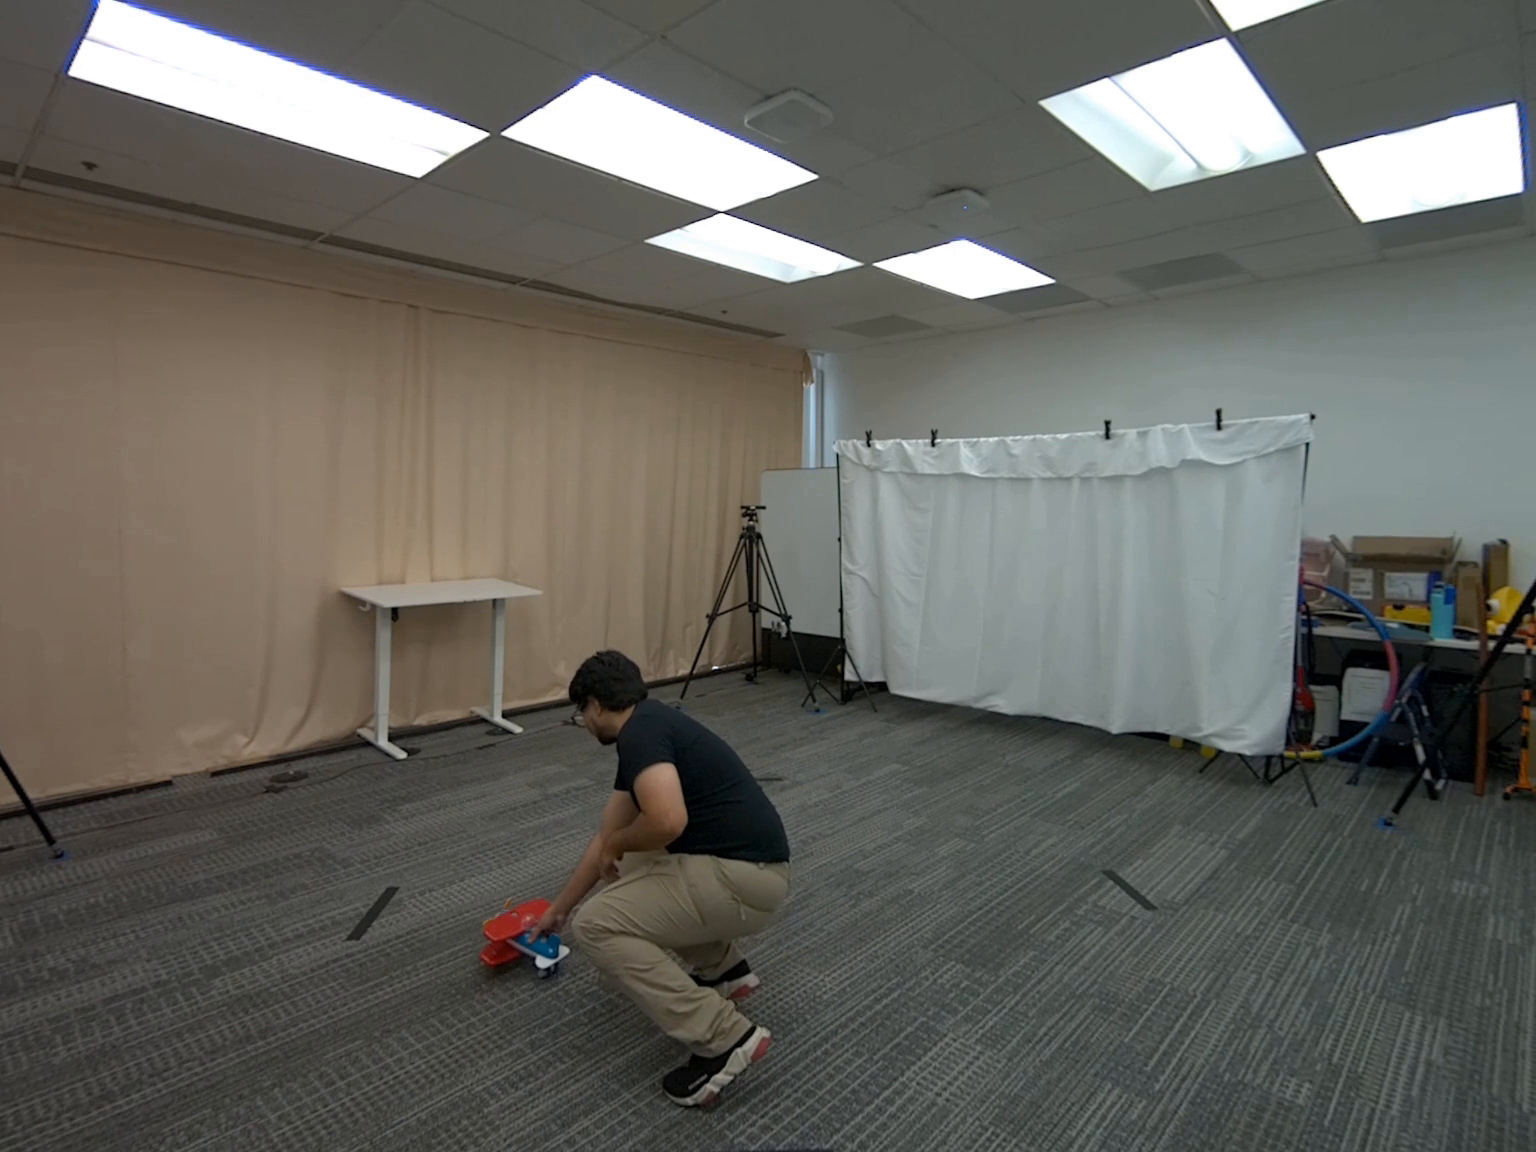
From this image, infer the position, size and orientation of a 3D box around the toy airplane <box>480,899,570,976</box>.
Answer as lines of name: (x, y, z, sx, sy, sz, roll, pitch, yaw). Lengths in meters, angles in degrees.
toy airplane: (-0.729, 1.113, 2.566, 0.260, 0.156, 0.251, -1, 4, 1)
